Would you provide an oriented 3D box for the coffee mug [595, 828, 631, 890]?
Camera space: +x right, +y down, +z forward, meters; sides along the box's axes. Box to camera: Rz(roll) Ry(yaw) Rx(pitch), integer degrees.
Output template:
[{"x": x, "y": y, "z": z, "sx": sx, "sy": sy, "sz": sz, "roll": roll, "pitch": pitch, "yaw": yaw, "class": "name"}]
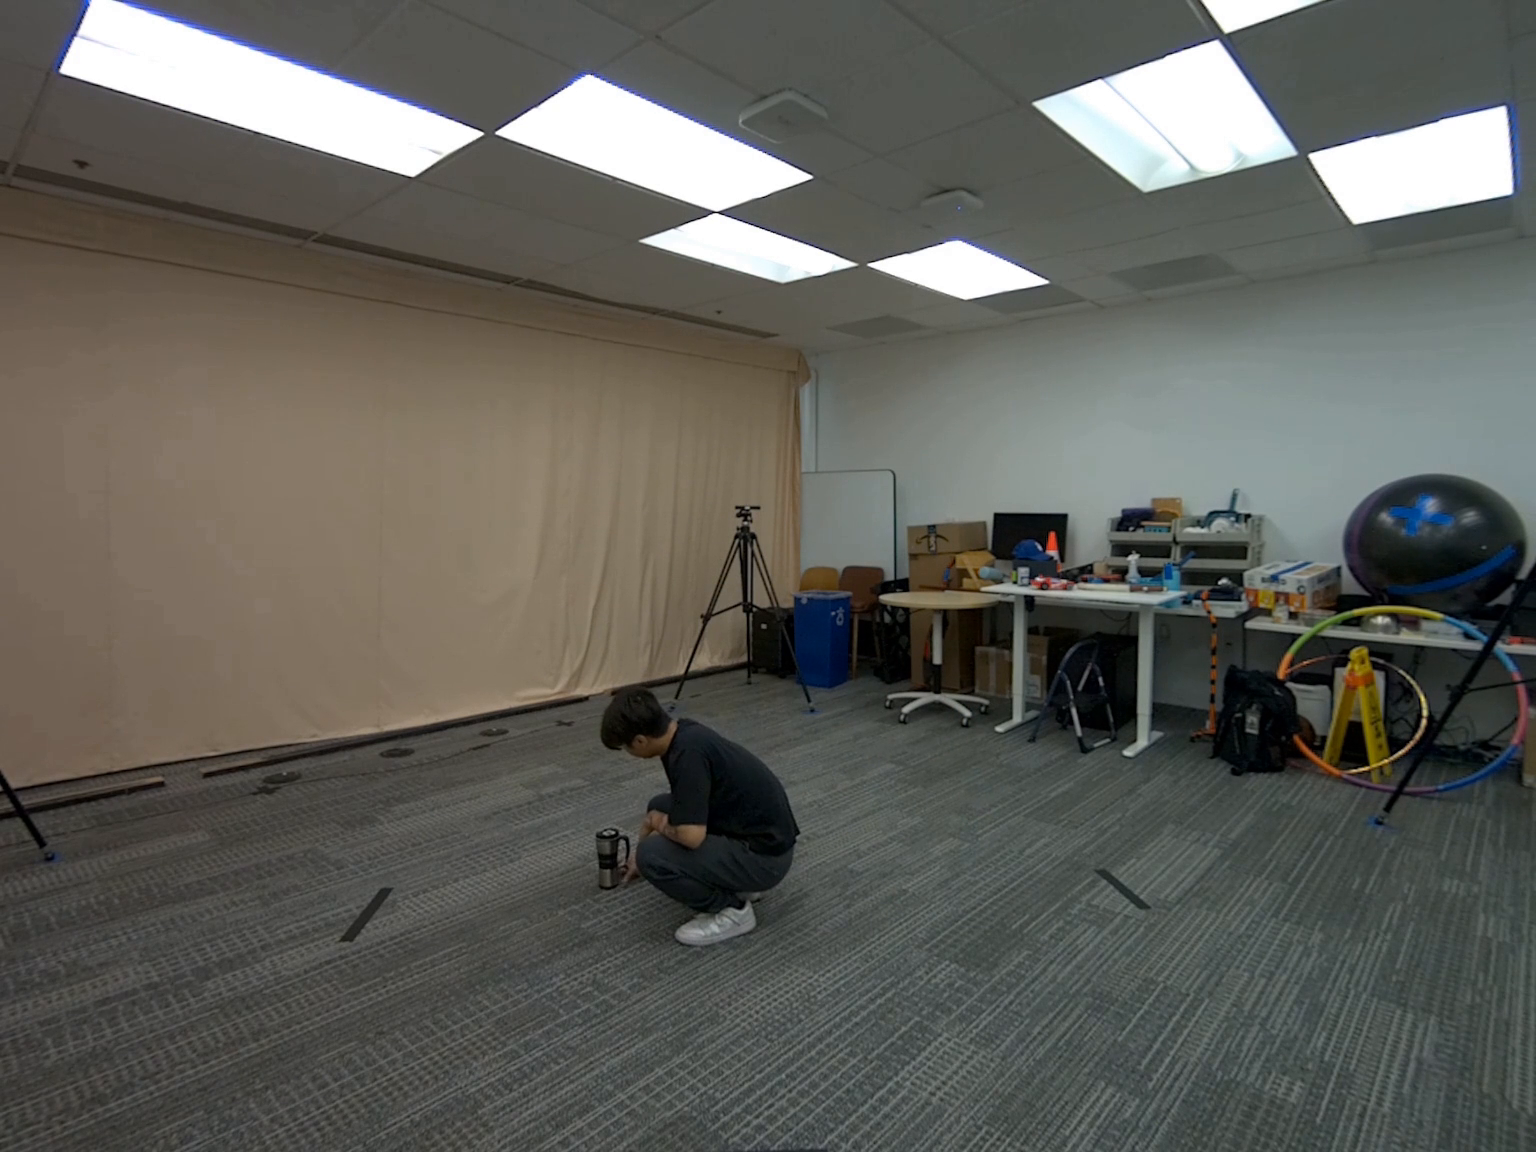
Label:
[{"x": -0.577, "y": 1.048, "z": 3.080, "sx": 0.126, "sy": 0.203, "sz": 0.085, "roll": -3, "pitch": -5, "yaw": 42, "class": "coffee mug"}]
